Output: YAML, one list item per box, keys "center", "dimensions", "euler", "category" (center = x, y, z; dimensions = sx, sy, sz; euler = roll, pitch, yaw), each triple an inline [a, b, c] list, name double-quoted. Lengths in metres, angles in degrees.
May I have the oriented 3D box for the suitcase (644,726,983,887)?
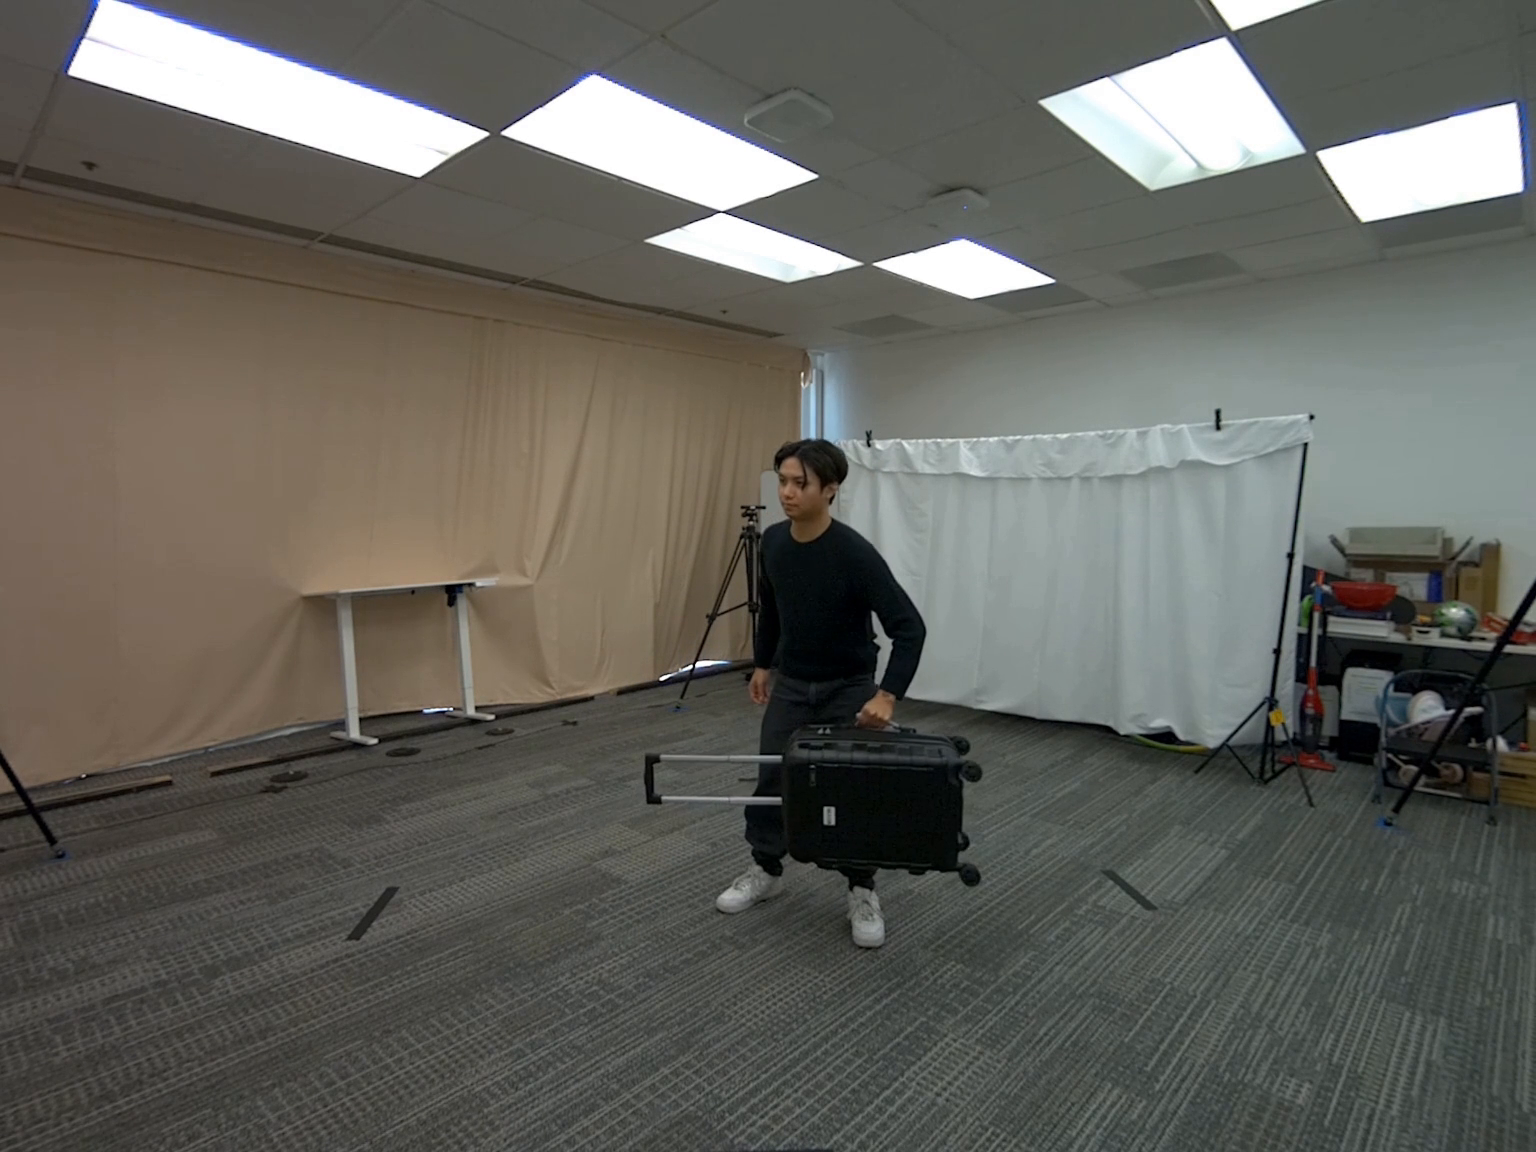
- center: [0.106, 0.638, 2.468]
  dimensions: [0.987, 0.382, 0.256]
  euler: [0, 7, 8]
  category: "suitcase"
